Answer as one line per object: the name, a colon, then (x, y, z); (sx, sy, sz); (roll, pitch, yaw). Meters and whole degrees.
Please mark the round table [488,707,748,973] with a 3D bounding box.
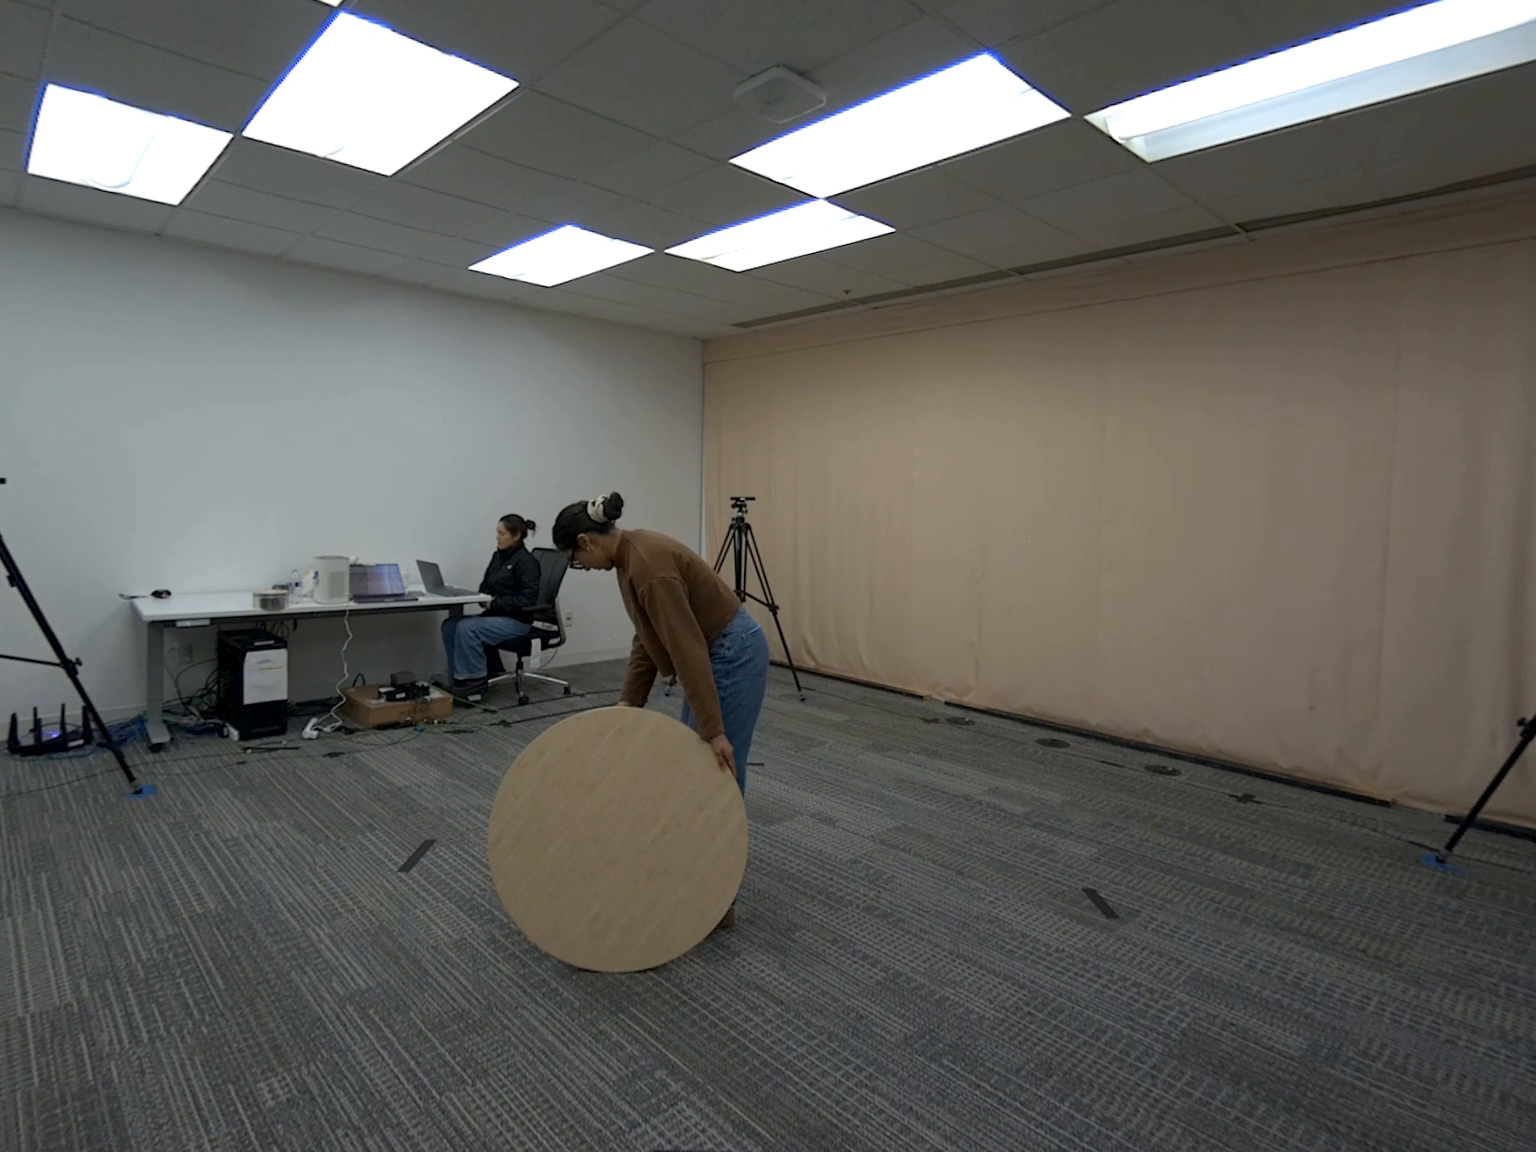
round table: (-0.492, 0.783, 2.863); (0.763, 0.765, 0.794); (1, -2, -2)
